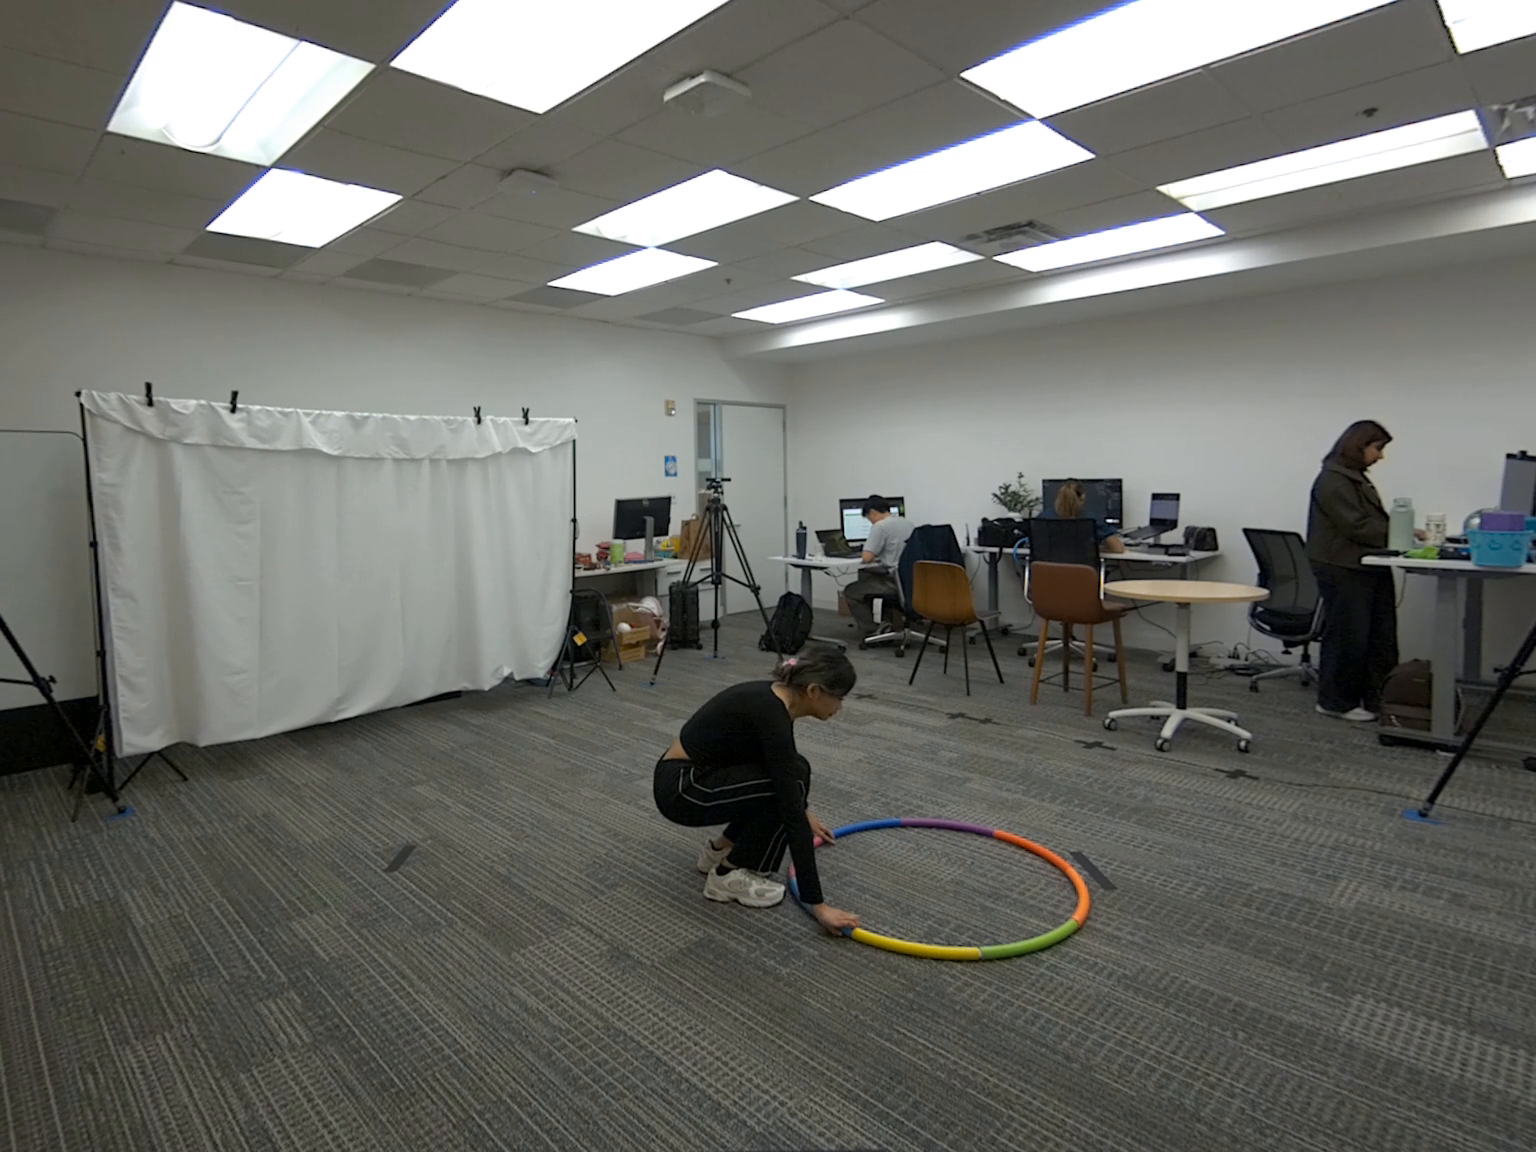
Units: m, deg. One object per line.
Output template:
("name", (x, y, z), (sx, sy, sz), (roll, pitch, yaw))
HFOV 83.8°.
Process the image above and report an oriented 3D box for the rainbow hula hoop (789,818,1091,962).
("rainbow hula hoop", (0.563, 1.021, 2.935), (0.978, 0.035, 0.984), (-2, 6, -2))
